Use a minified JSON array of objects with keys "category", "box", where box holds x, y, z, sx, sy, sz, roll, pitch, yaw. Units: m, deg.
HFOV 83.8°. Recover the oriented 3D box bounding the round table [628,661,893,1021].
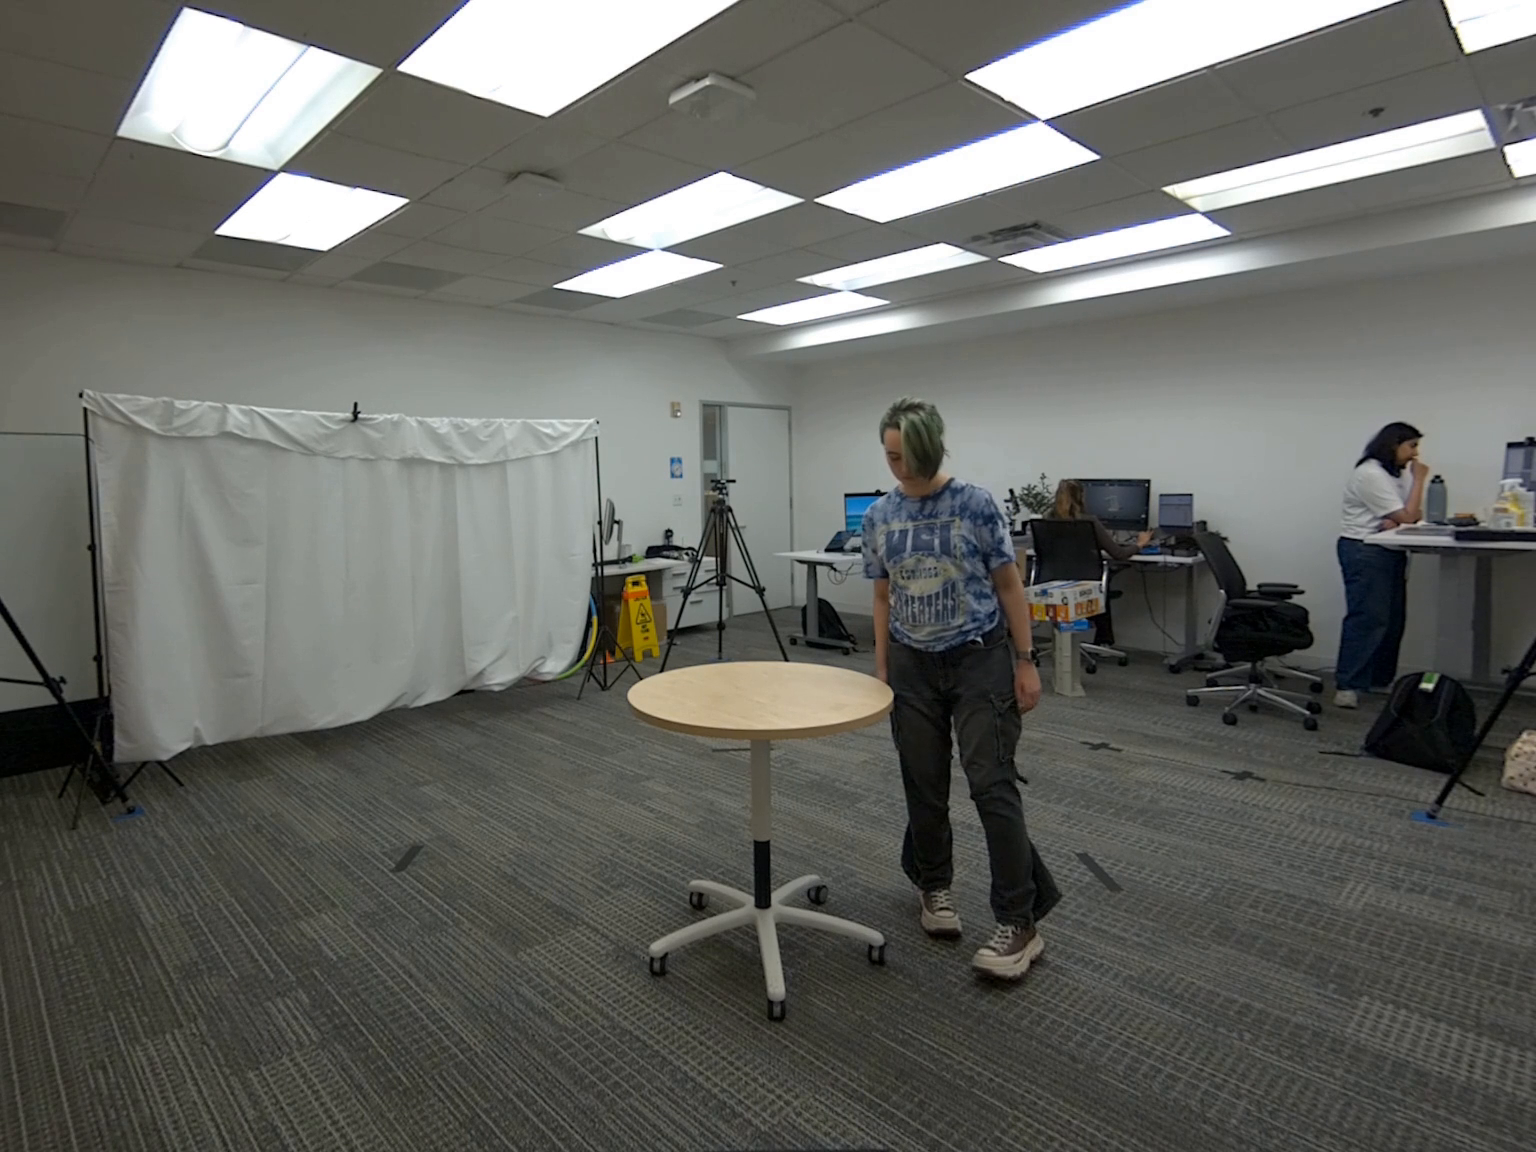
[{"category":"round table","box":[-0.012,0.728,2.506,0.763,0.790,0.768,-1,5,-2]}]
